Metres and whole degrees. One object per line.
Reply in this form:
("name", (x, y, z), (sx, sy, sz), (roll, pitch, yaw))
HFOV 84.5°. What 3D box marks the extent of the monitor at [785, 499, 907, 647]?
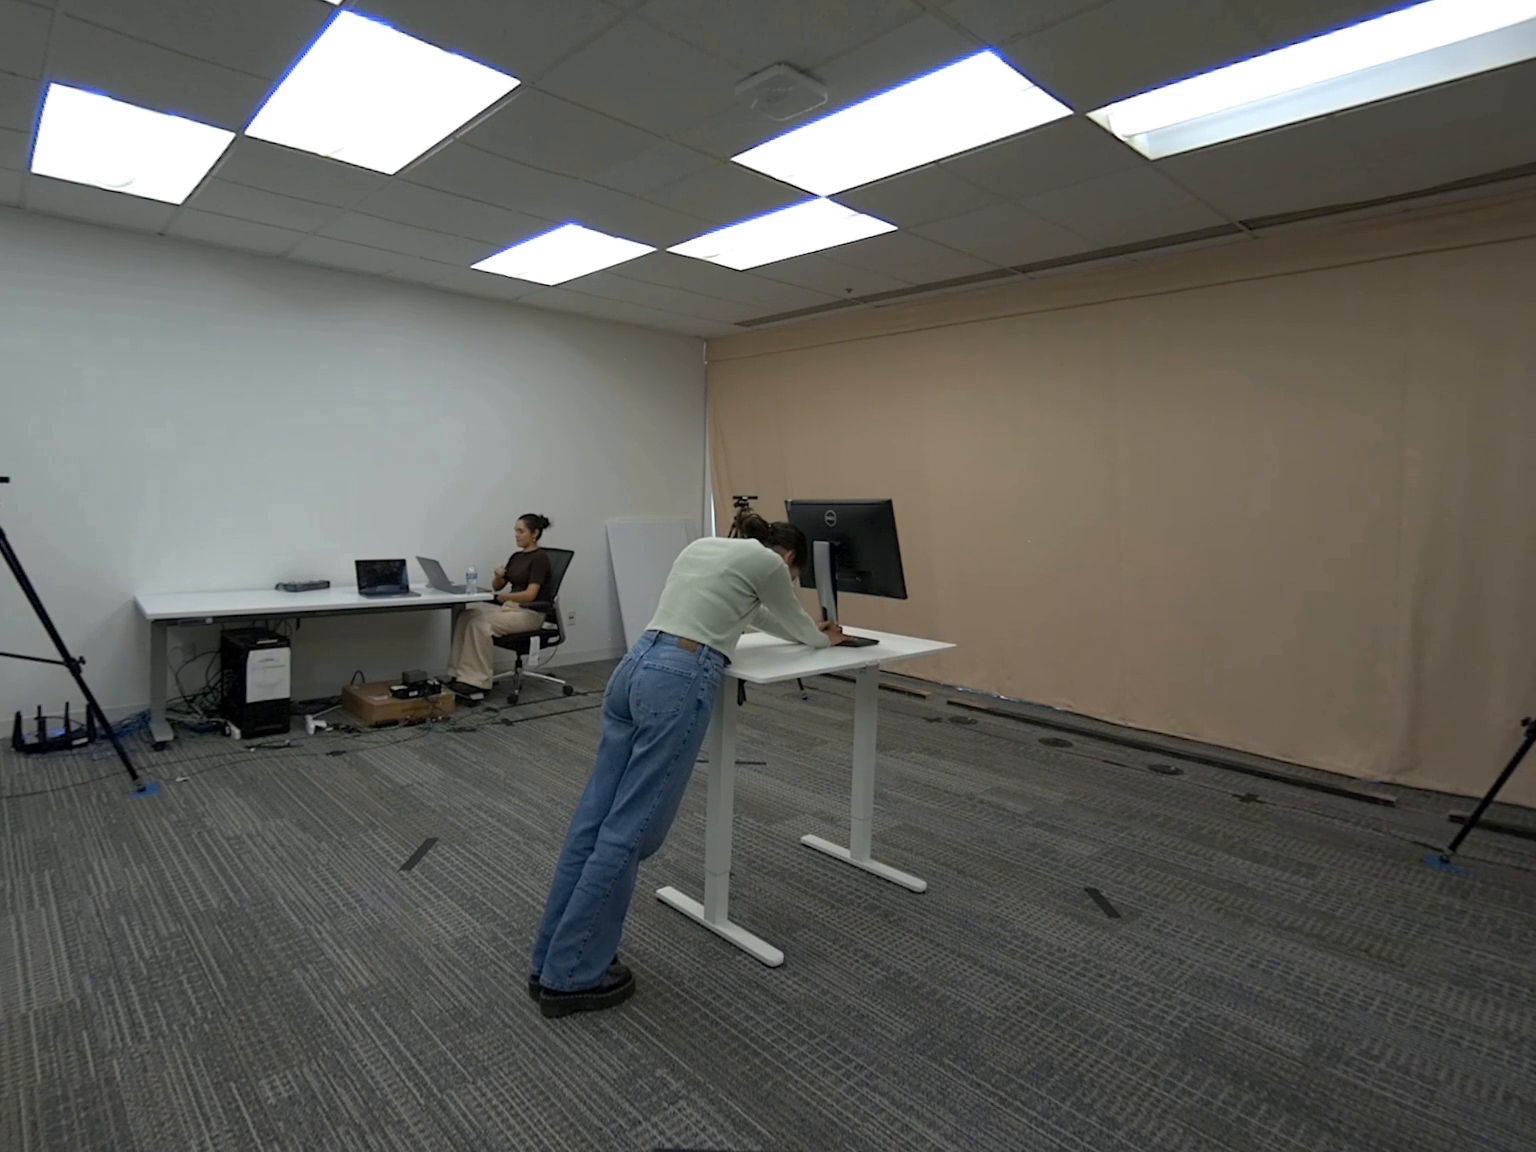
("monitor", (0.244, -0.015, 3.033), (0.183, 0.521, 0.552), (-4, 6, -40))
